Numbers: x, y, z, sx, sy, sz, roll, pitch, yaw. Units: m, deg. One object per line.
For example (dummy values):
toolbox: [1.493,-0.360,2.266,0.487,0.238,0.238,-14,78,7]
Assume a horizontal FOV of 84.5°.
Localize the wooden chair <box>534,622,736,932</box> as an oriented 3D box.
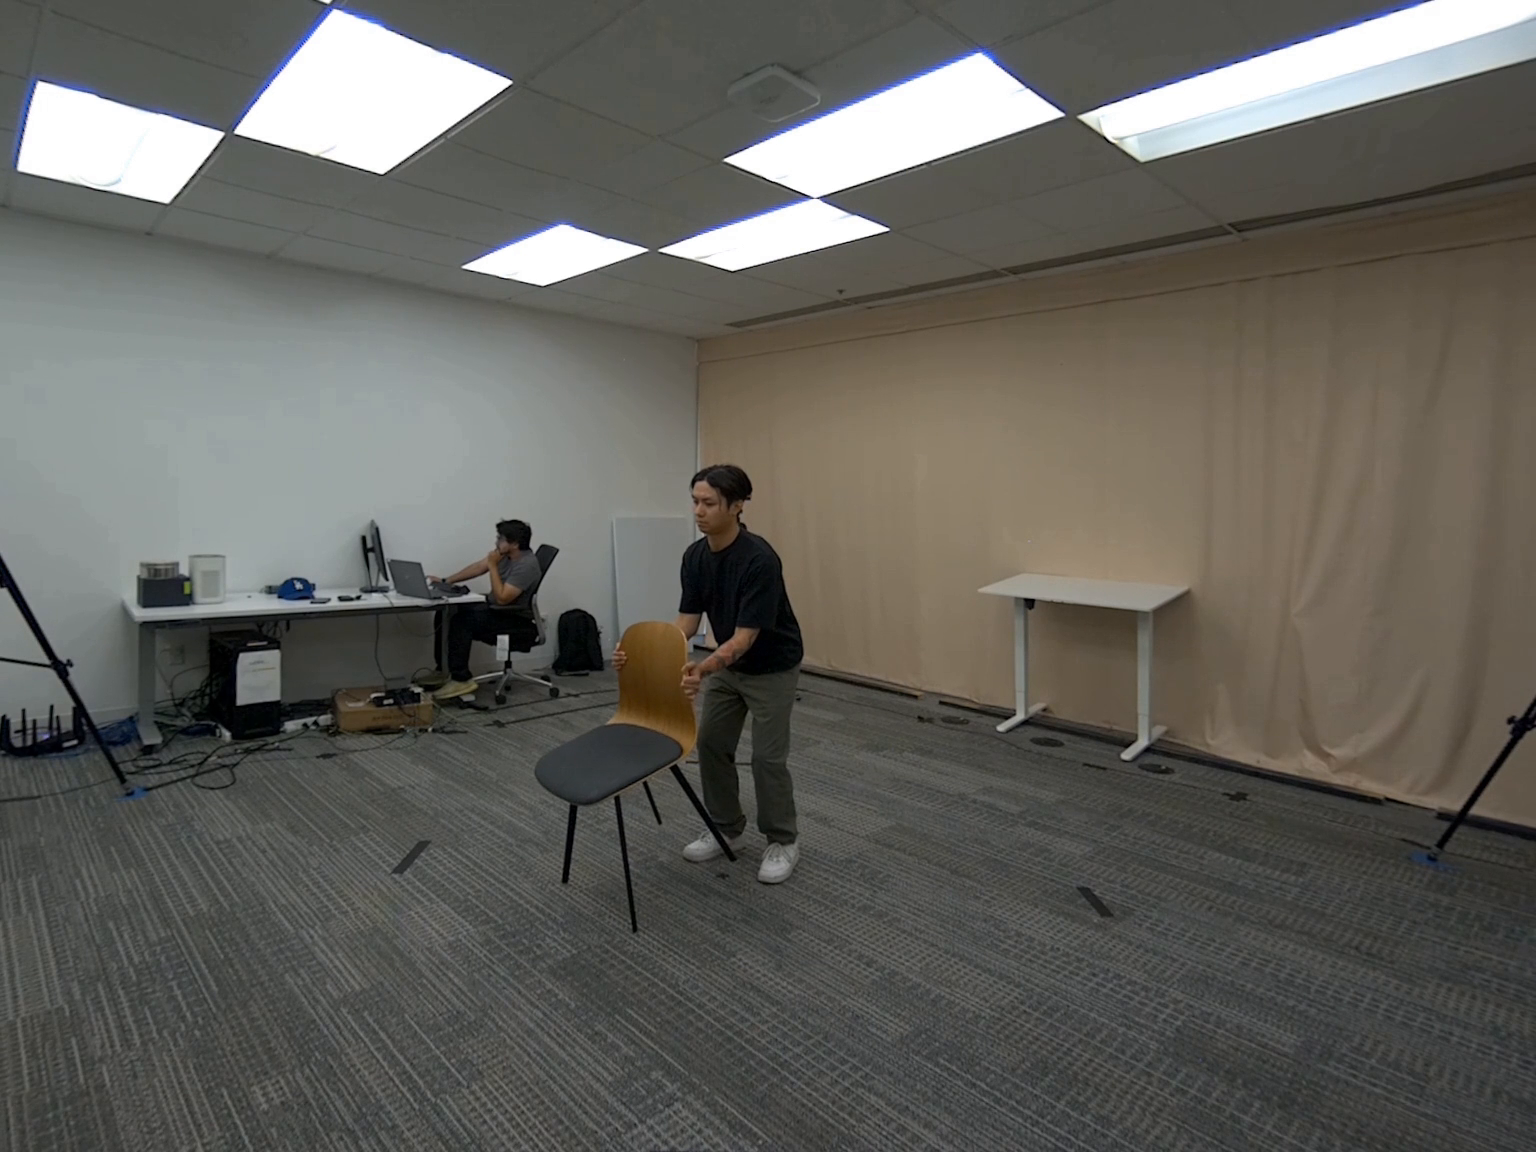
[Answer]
wooden chair: [-0.500,0.651,2.877,0.514,0.870,0.490,-15,14,-41]
